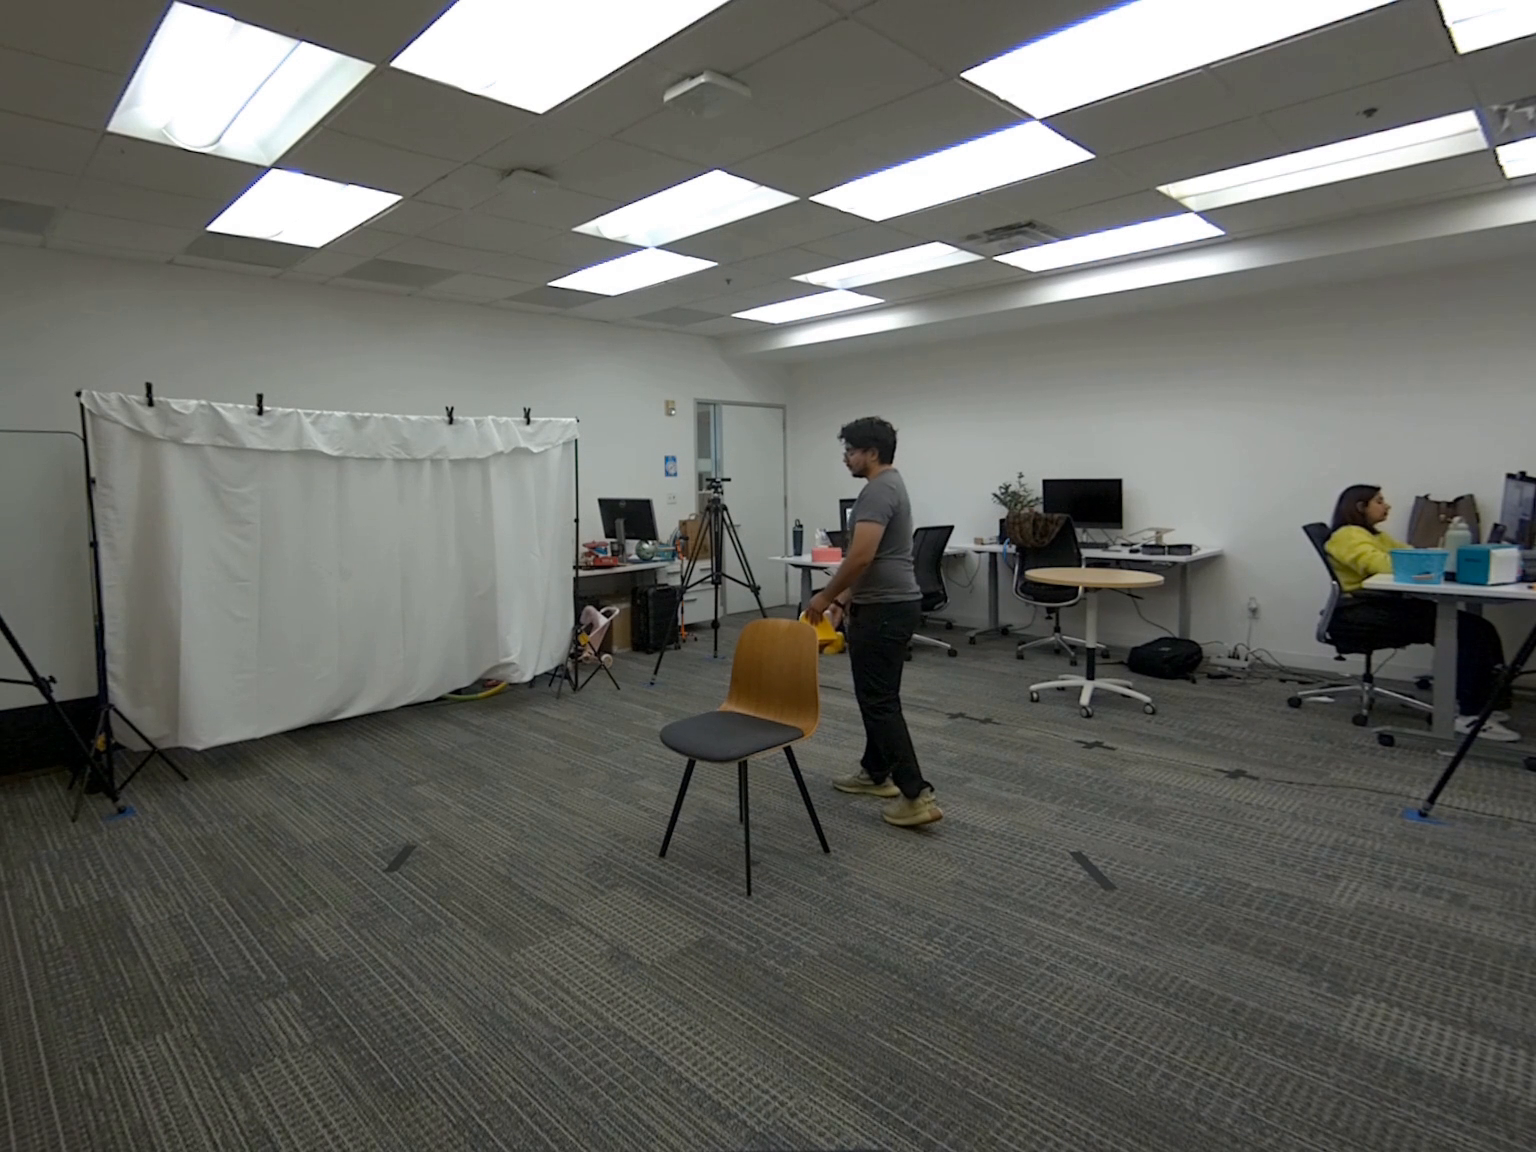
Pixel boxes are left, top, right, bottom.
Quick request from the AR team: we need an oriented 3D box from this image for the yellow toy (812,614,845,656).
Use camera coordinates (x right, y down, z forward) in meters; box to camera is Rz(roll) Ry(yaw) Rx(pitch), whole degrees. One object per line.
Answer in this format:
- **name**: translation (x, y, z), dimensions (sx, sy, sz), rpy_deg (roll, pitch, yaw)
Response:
- **yellow toy**: translation (0.223, 0.204, 3.694), dimensions (0.208, 0.226, 0.193), rpy_deg (-3, 19, 20)
